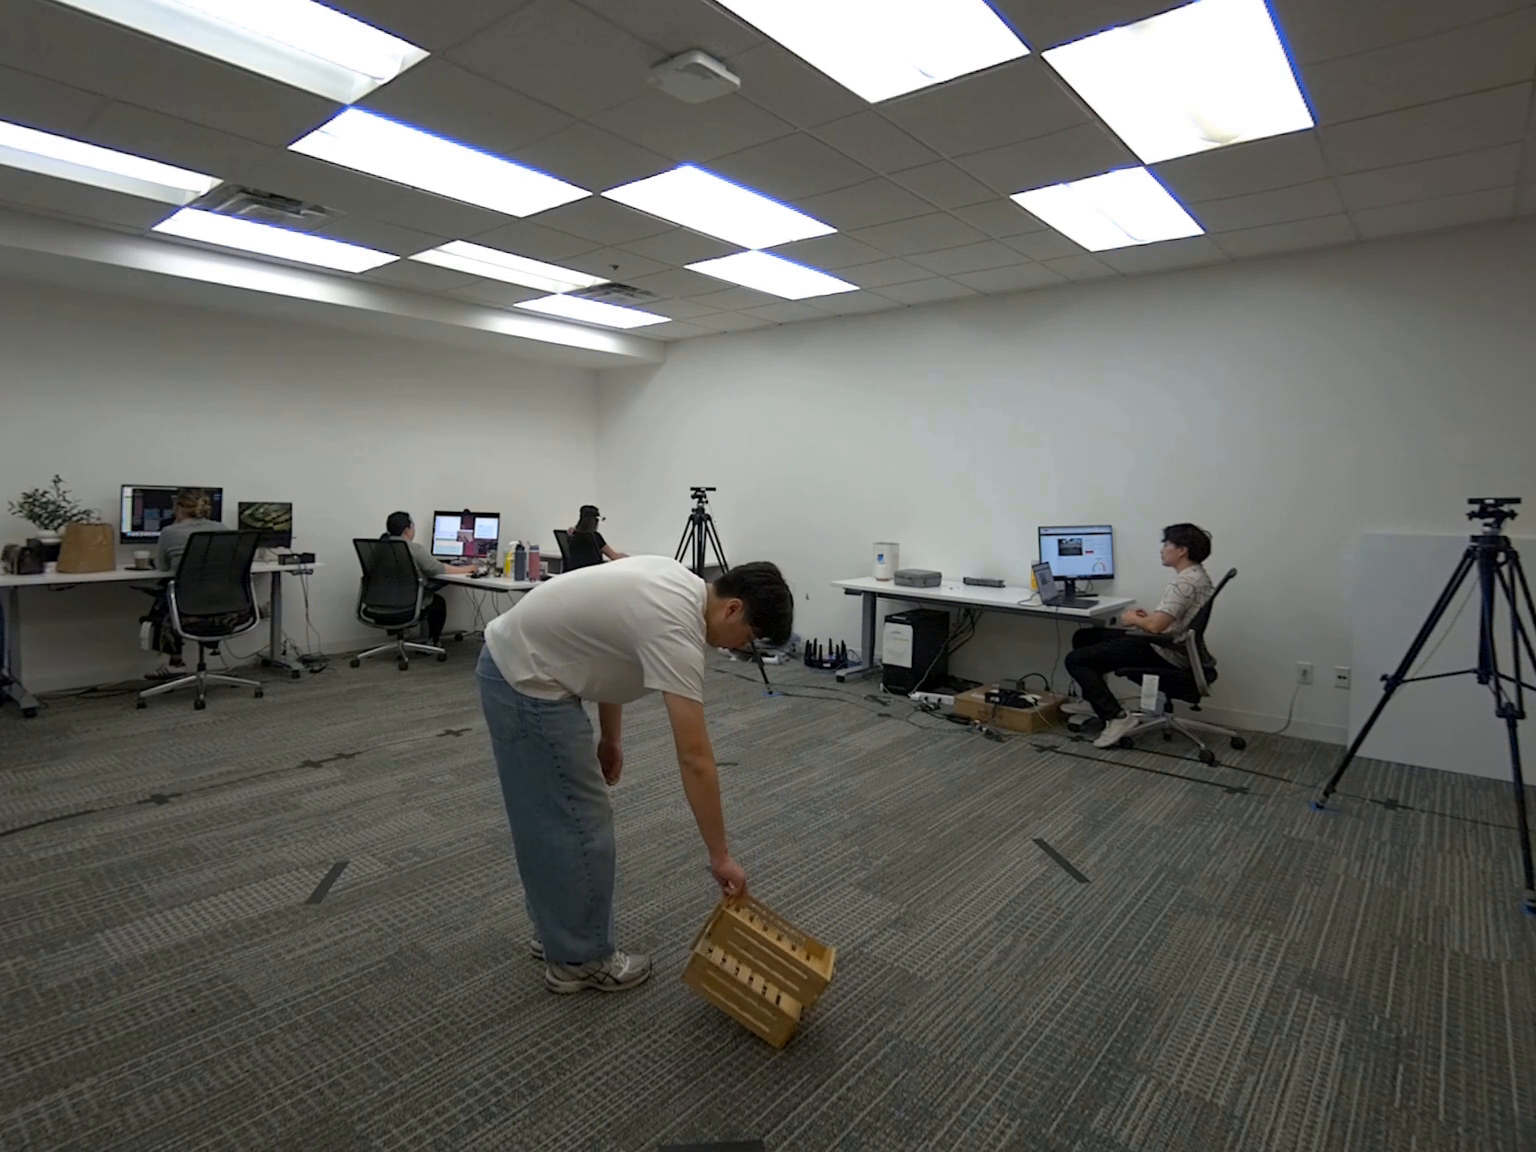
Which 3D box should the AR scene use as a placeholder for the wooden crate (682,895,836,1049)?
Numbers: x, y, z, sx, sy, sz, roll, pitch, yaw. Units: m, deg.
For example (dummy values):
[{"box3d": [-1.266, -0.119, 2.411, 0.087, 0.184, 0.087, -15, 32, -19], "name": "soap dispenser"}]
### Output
[{"box3d": [-0.027, 0.974, 2.210, 0.328, 0.272, 0.300, 30, 10, 7], "name": "wooden crate"}]
